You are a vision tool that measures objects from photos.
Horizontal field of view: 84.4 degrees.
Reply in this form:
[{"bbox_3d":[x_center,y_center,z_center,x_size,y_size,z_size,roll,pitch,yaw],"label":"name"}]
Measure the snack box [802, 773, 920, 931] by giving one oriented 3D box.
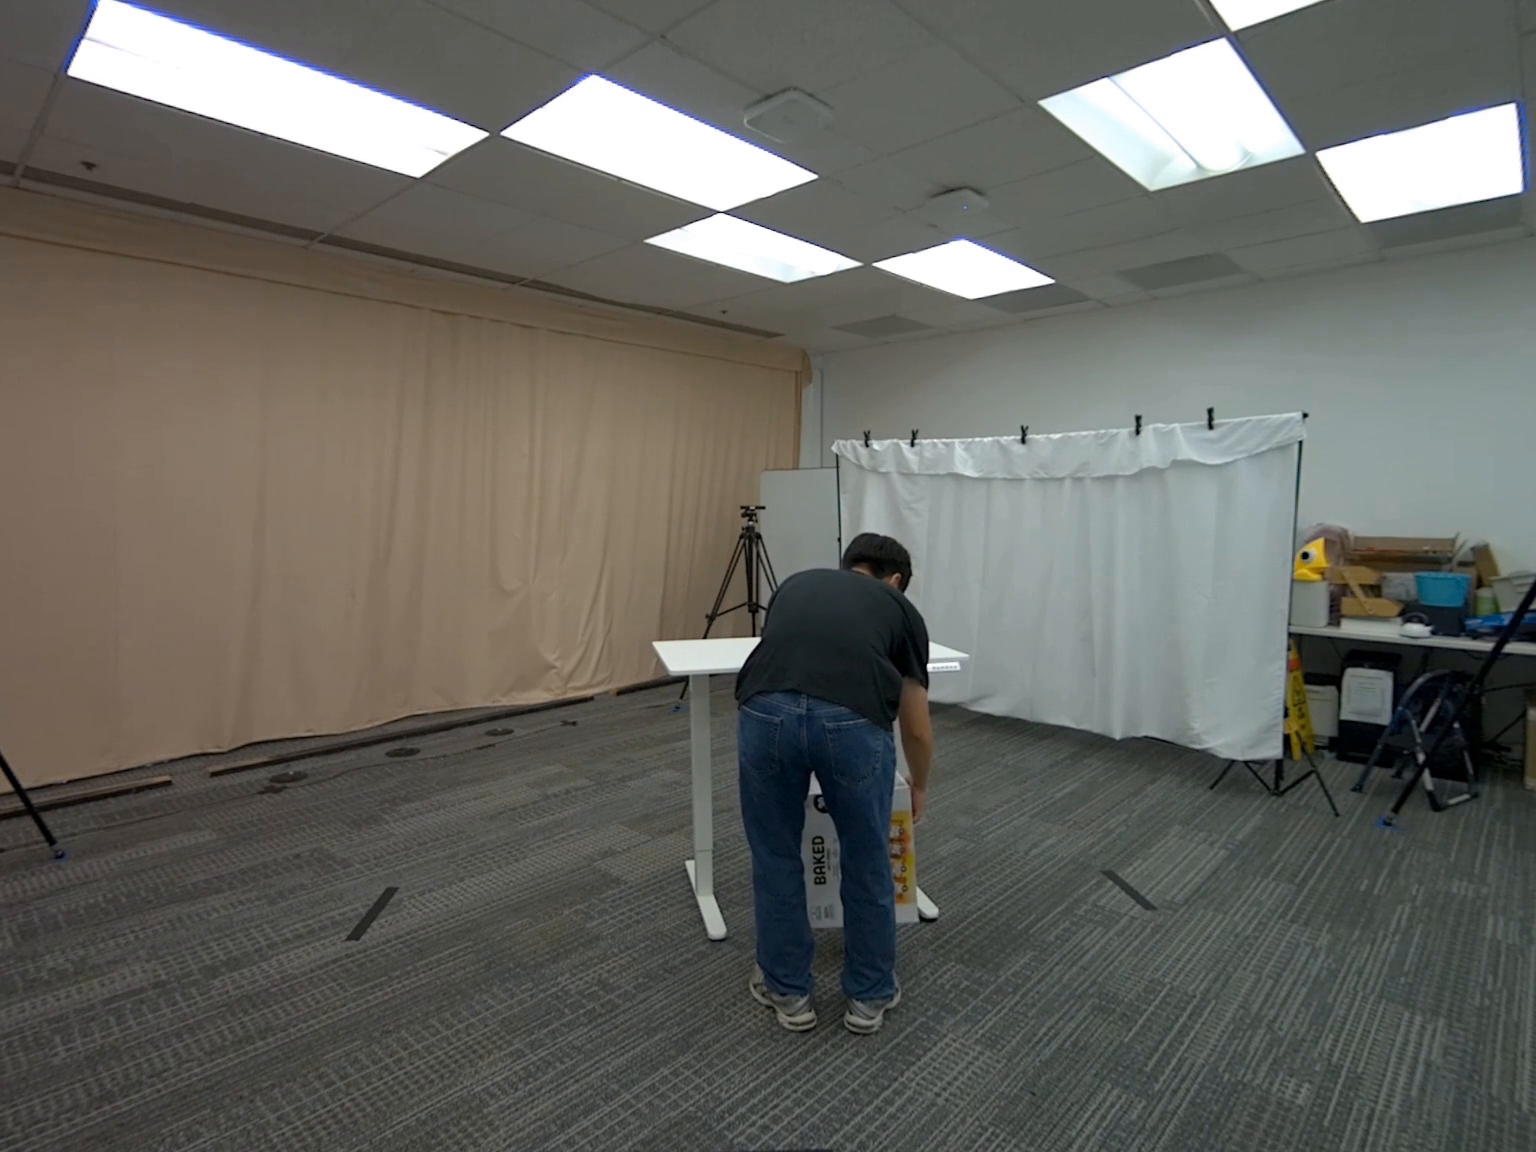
[{"bbox_3d":[0.269,0.834,2.576,0.341,0.405,0.205,-3,-1,1],"label":"snack box"}]
